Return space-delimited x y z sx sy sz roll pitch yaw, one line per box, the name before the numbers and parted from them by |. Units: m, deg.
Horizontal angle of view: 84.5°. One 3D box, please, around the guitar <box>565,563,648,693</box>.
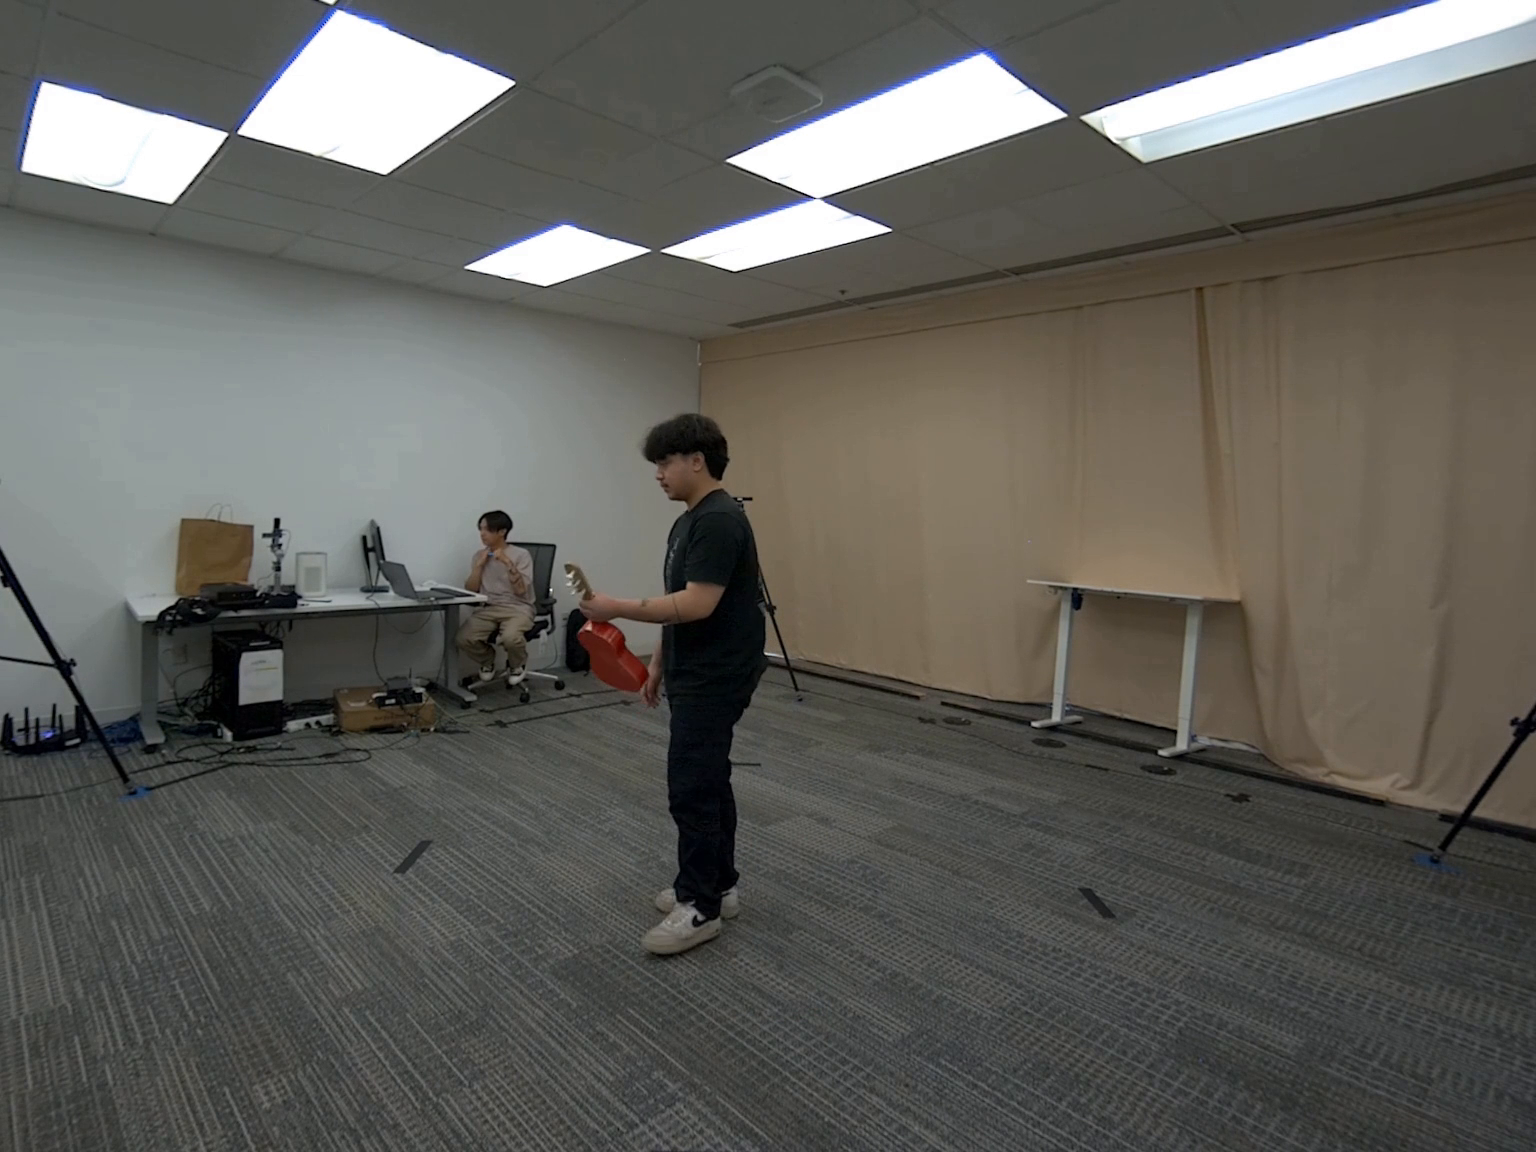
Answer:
guitar | -0.544 0.164 2.595 0.197 0.484 0.071 1 41 38
